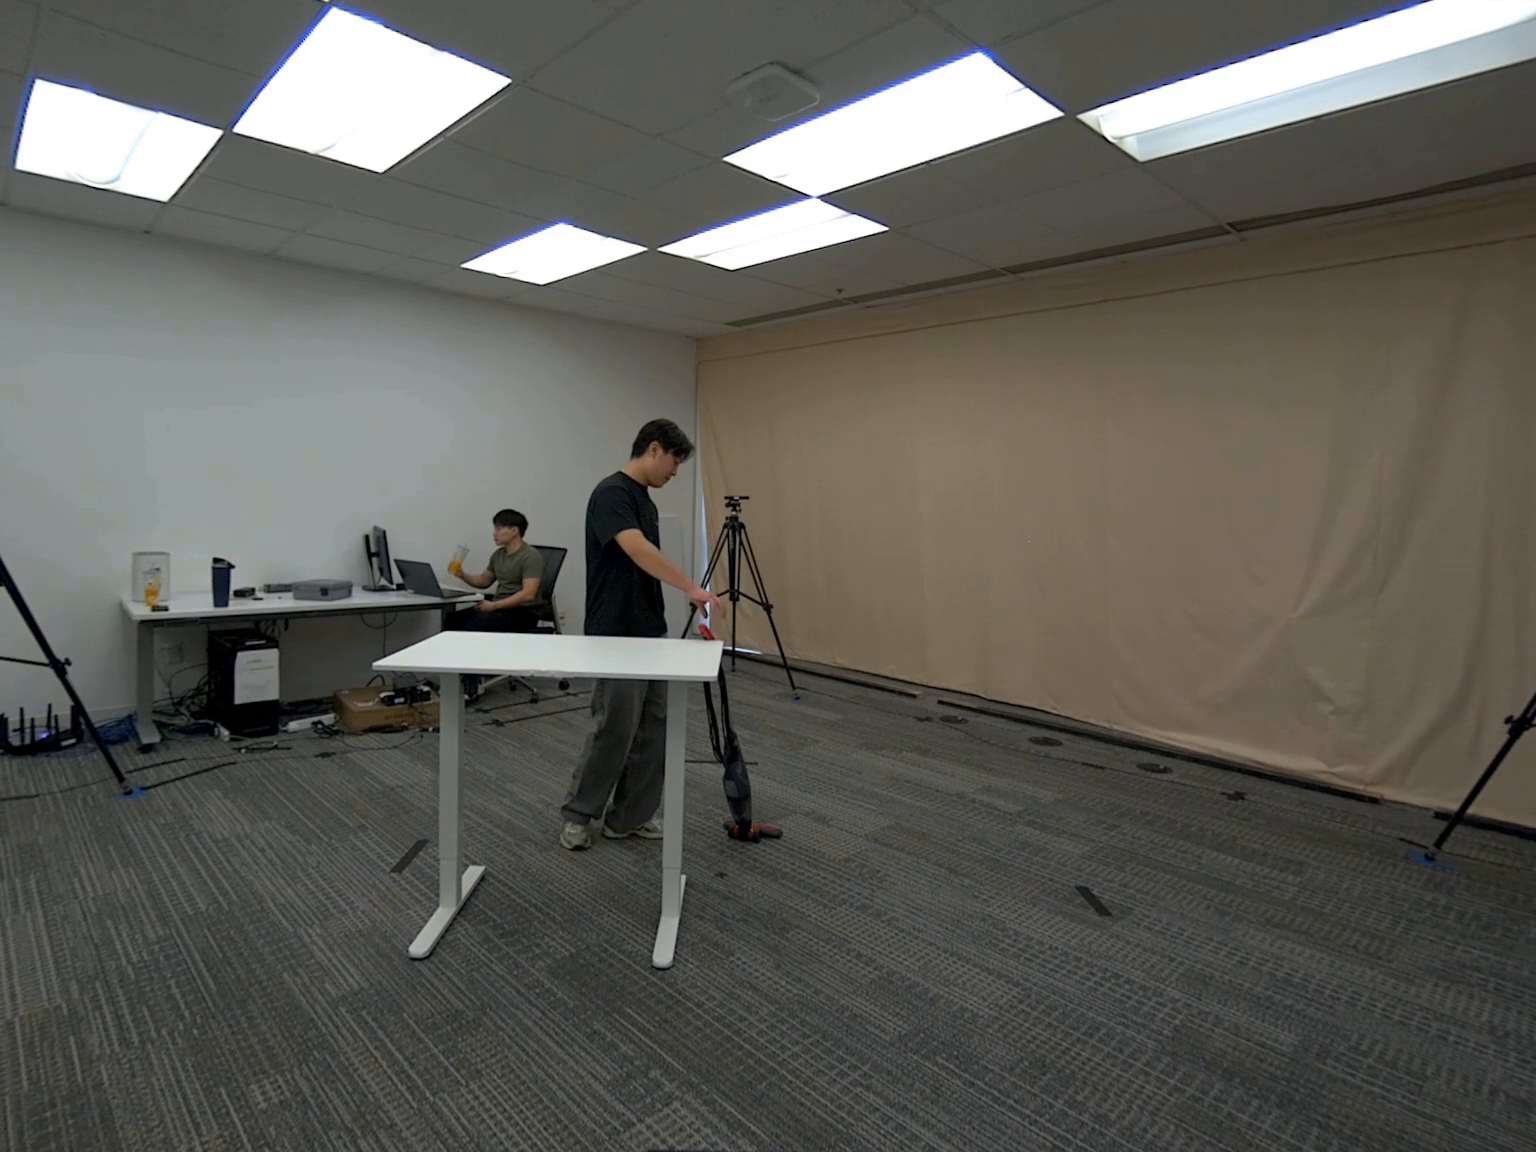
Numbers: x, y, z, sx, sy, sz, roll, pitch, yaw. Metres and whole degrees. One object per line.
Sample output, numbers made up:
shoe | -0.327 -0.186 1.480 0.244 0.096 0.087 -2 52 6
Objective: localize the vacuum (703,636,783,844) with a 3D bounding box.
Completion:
vacuum | -0.160 0.623 3.232 0.258 1.026 0.144 7 33 30
